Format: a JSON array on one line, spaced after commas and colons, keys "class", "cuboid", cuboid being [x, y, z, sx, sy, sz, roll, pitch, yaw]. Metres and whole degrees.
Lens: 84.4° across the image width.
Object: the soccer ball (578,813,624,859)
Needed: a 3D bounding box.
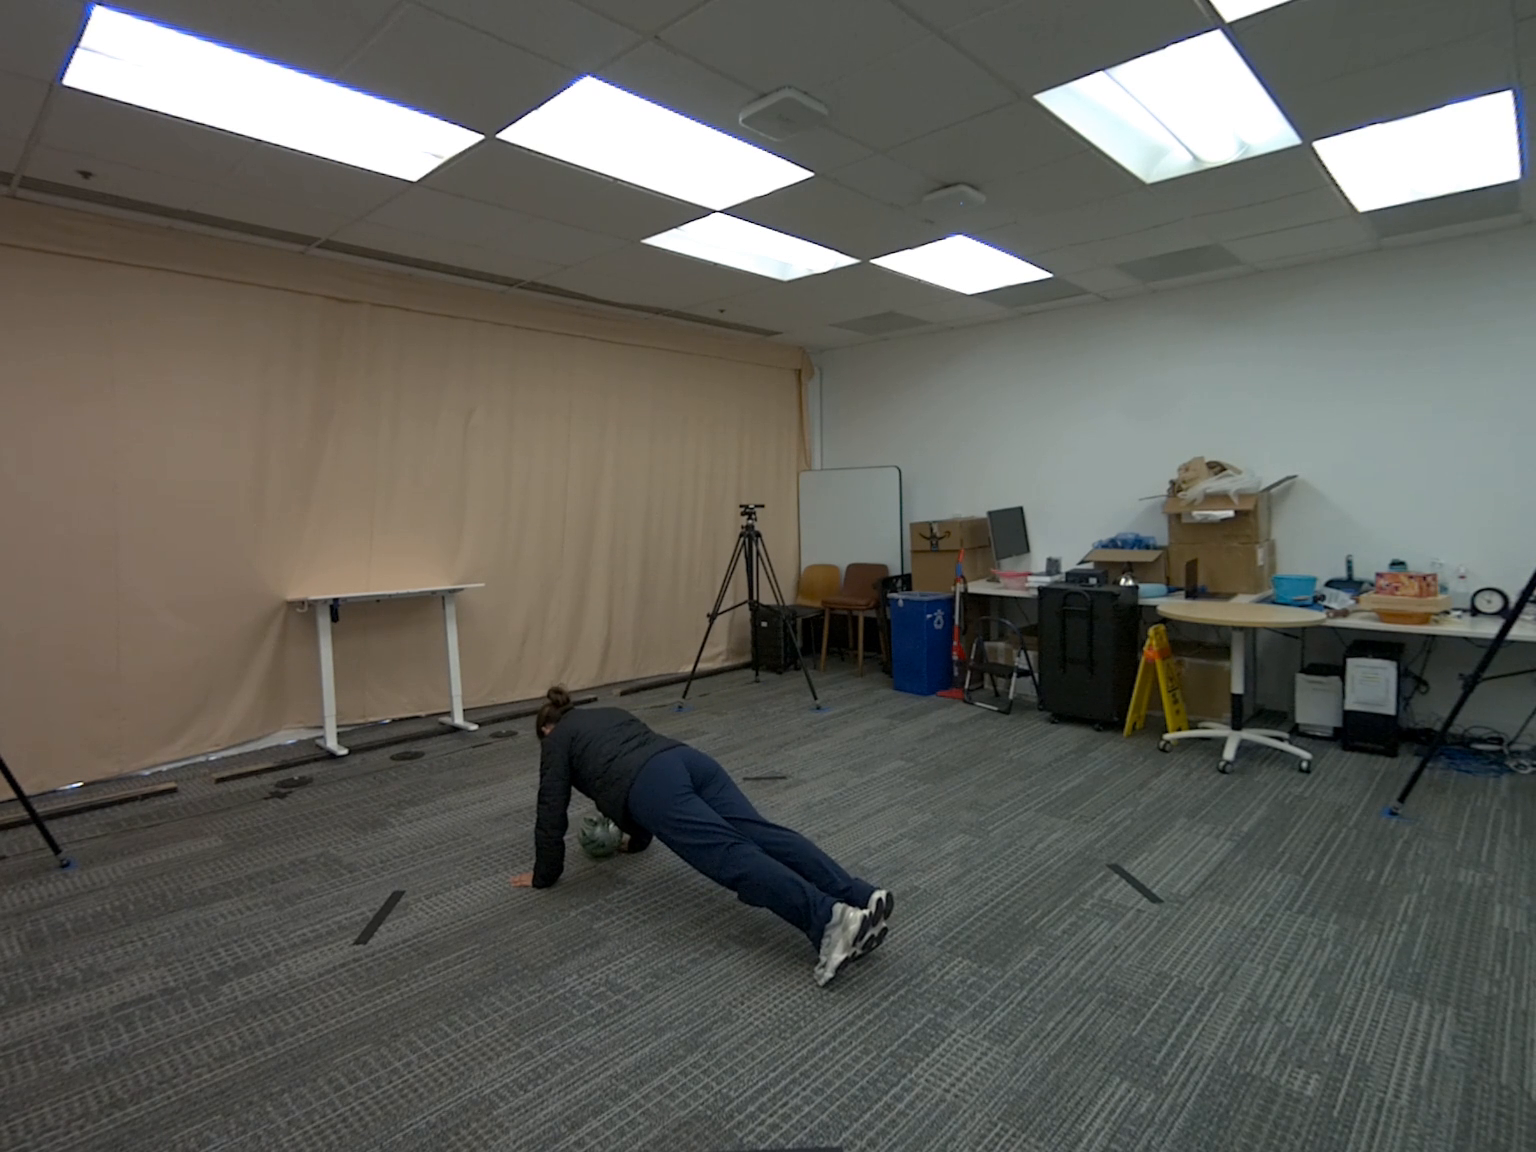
[{"class": "soccer ball", "cuboid": [-0.674, 1.033, 3.385, 0.187, 0.187, 0.188, -1, 4, -2]}]
